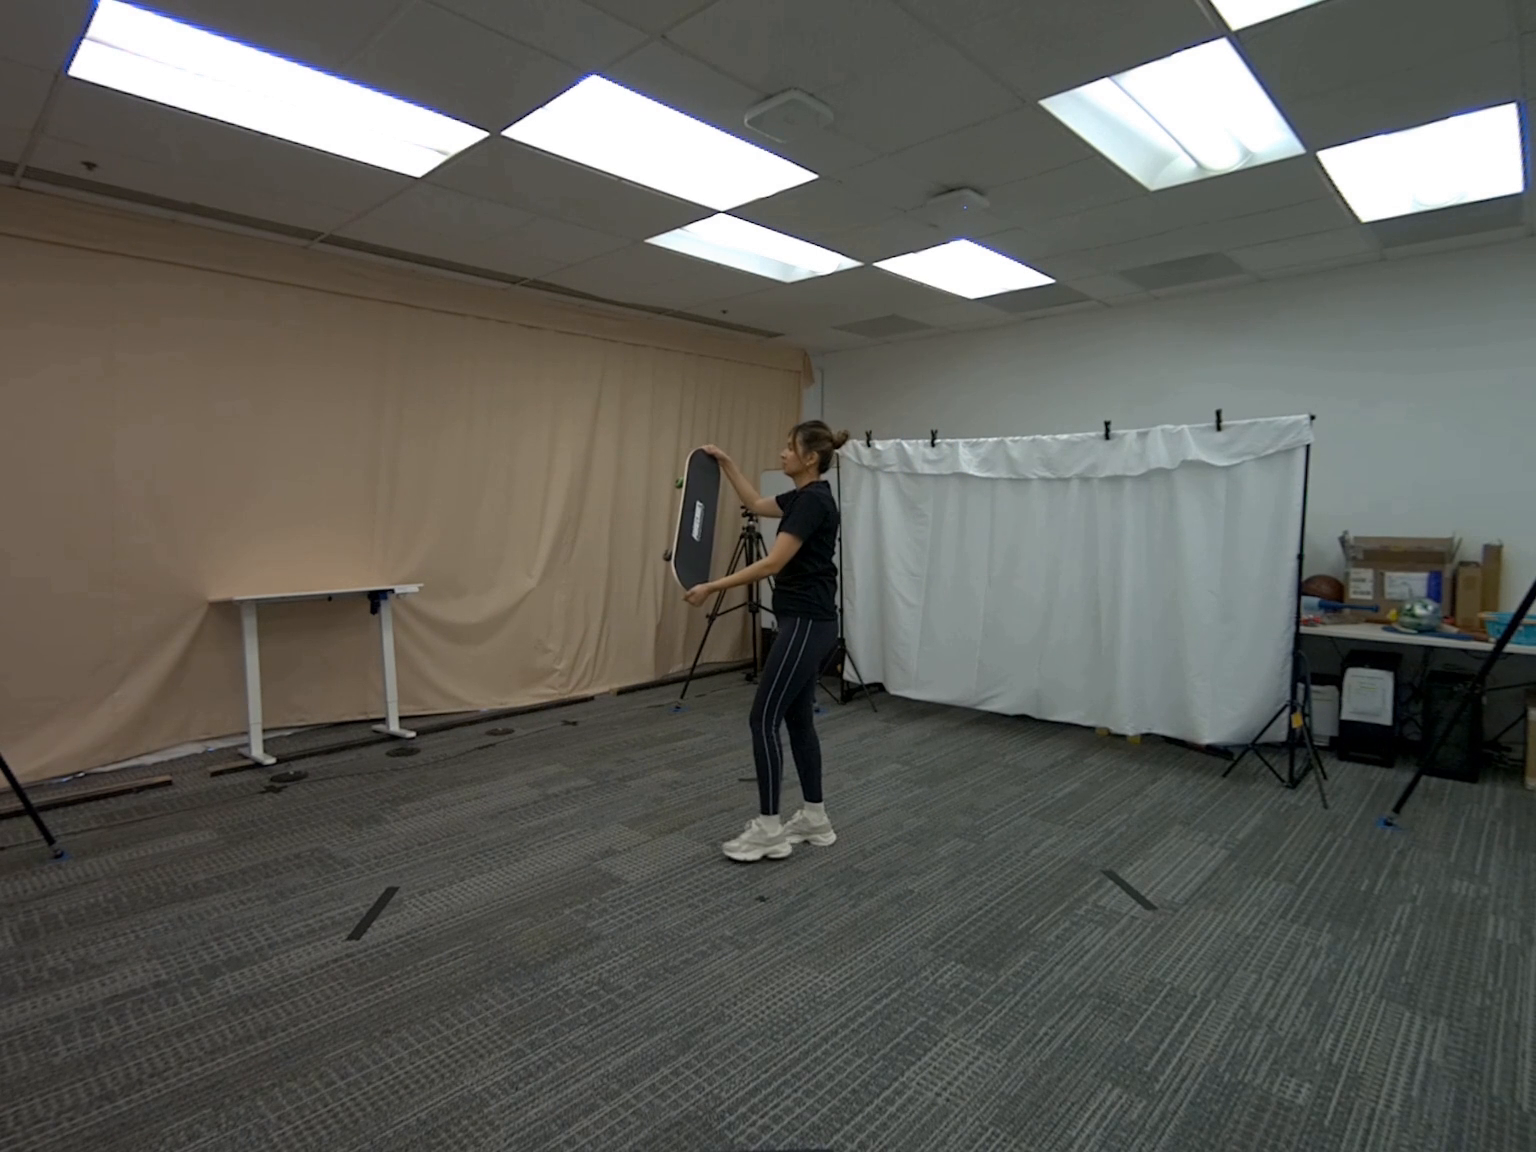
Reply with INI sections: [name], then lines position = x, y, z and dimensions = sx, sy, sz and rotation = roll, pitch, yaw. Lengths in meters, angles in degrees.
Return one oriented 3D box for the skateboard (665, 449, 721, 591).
[skateboard]
position = -0.312, -0.214, 3.503
dimensions = 0.112, 0.798, 0.187
rotation = -30, -49, 34
